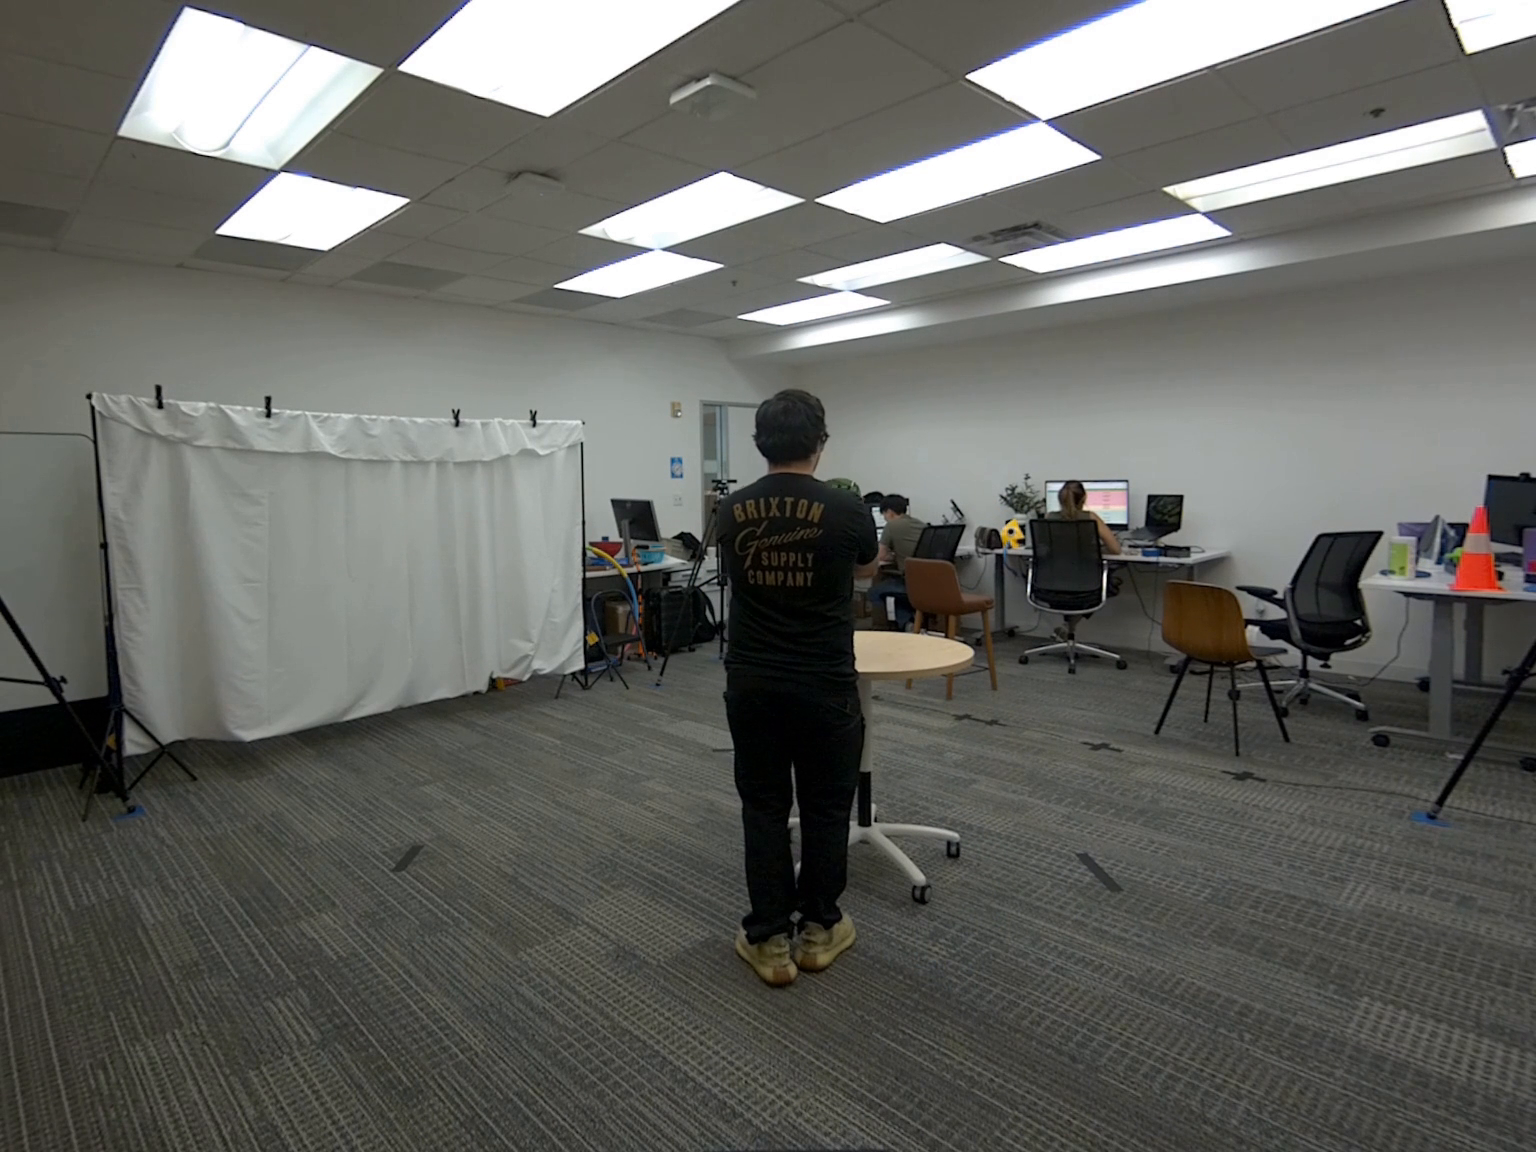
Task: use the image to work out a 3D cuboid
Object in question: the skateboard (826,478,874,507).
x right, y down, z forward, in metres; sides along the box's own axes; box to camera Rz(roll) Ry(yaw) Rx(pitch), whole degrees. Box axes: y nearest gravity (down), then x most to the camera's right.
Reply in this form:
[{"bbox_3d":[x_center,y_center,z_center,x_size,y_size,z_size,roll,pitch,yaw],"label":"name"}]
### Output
[{"bbox_3d":[0.202,-0.045,2.895,0.196,0.801,0.106,-1,-34,16],"label":"skateboard"}]
